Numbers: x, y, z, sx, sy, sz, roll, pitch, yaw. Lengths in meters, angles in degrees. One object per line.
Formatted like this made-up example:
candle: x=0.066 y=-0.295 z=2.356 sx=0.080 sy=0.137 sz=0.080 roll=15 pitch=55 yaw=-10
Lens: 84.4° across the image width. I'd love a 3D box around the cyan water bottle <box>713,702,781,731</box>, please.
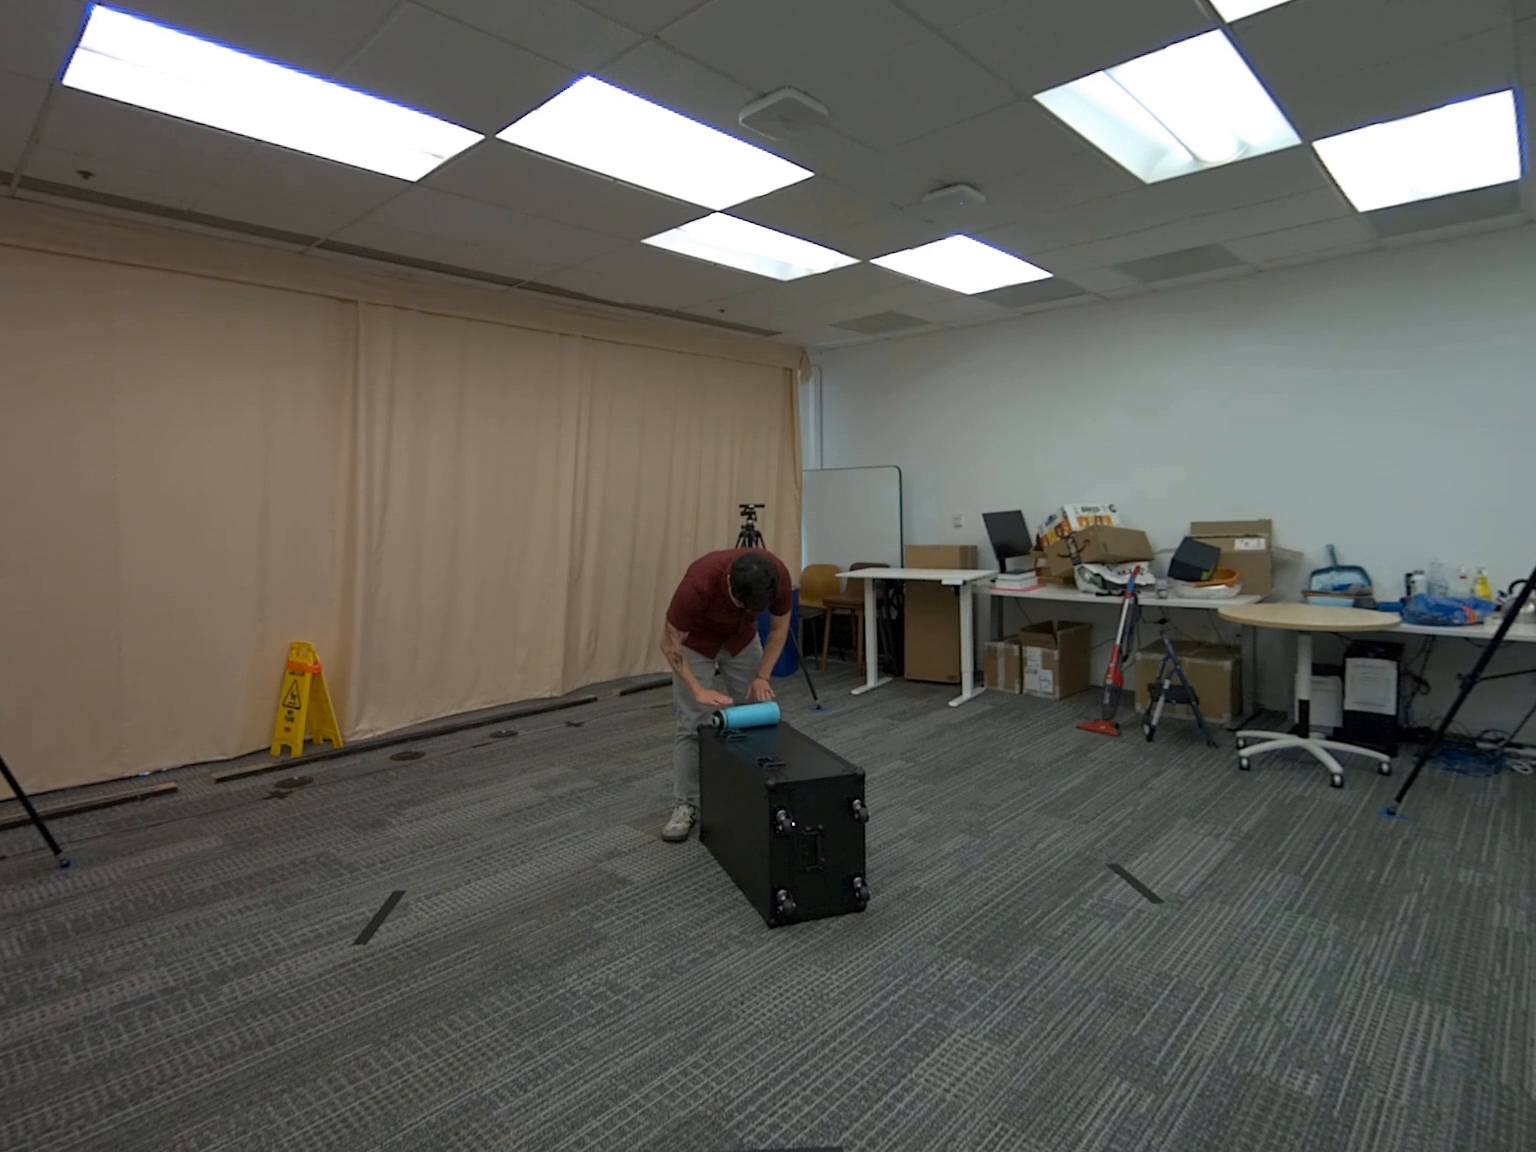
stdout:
cyan water bottle: x=-0.088 y=0.566 z=3.438 sx=0.278 sy=0.092 sz=0.094 roll=-10 pitch=7 yaw=-23
